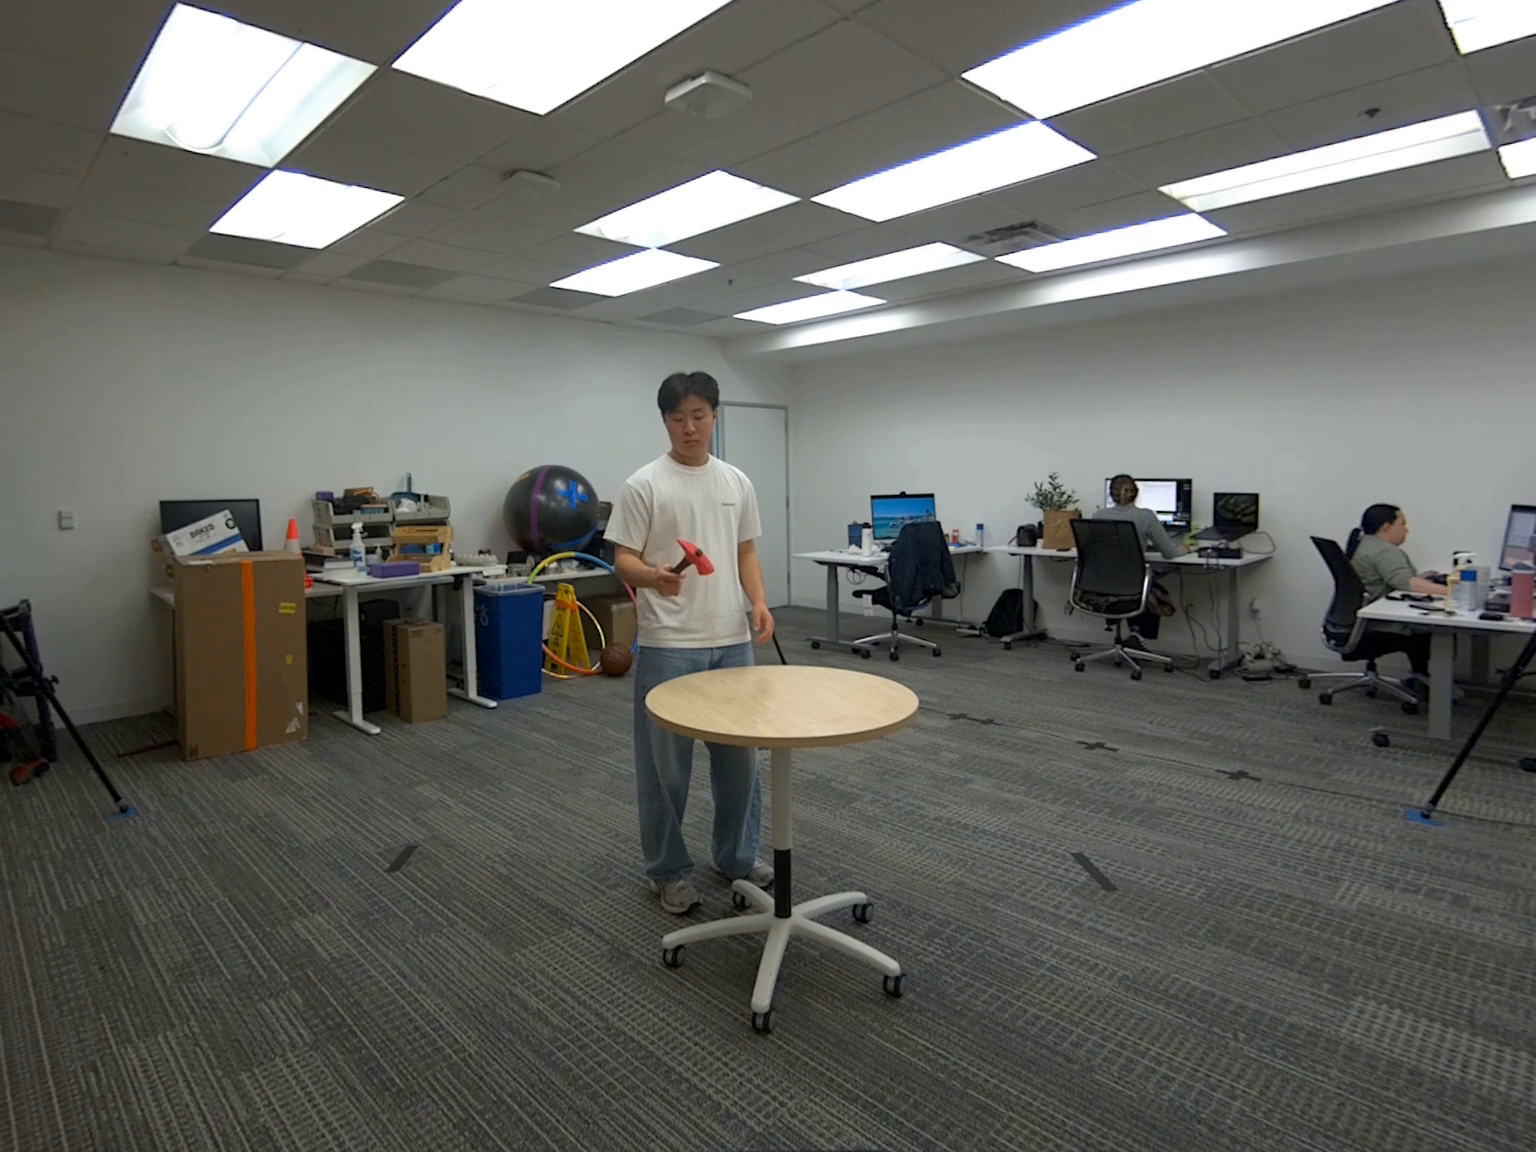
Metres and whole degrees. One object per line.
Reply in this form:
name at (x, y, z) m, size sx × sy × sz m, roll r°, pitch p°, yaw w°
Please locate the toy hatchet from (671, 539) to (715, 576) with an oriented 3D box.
toy hatchet at (-0.223, 0.000, 2.451) m, size 0.133 × 0.266 × 0.030 m, roll 32°, pitch 54°, yaw 8°
